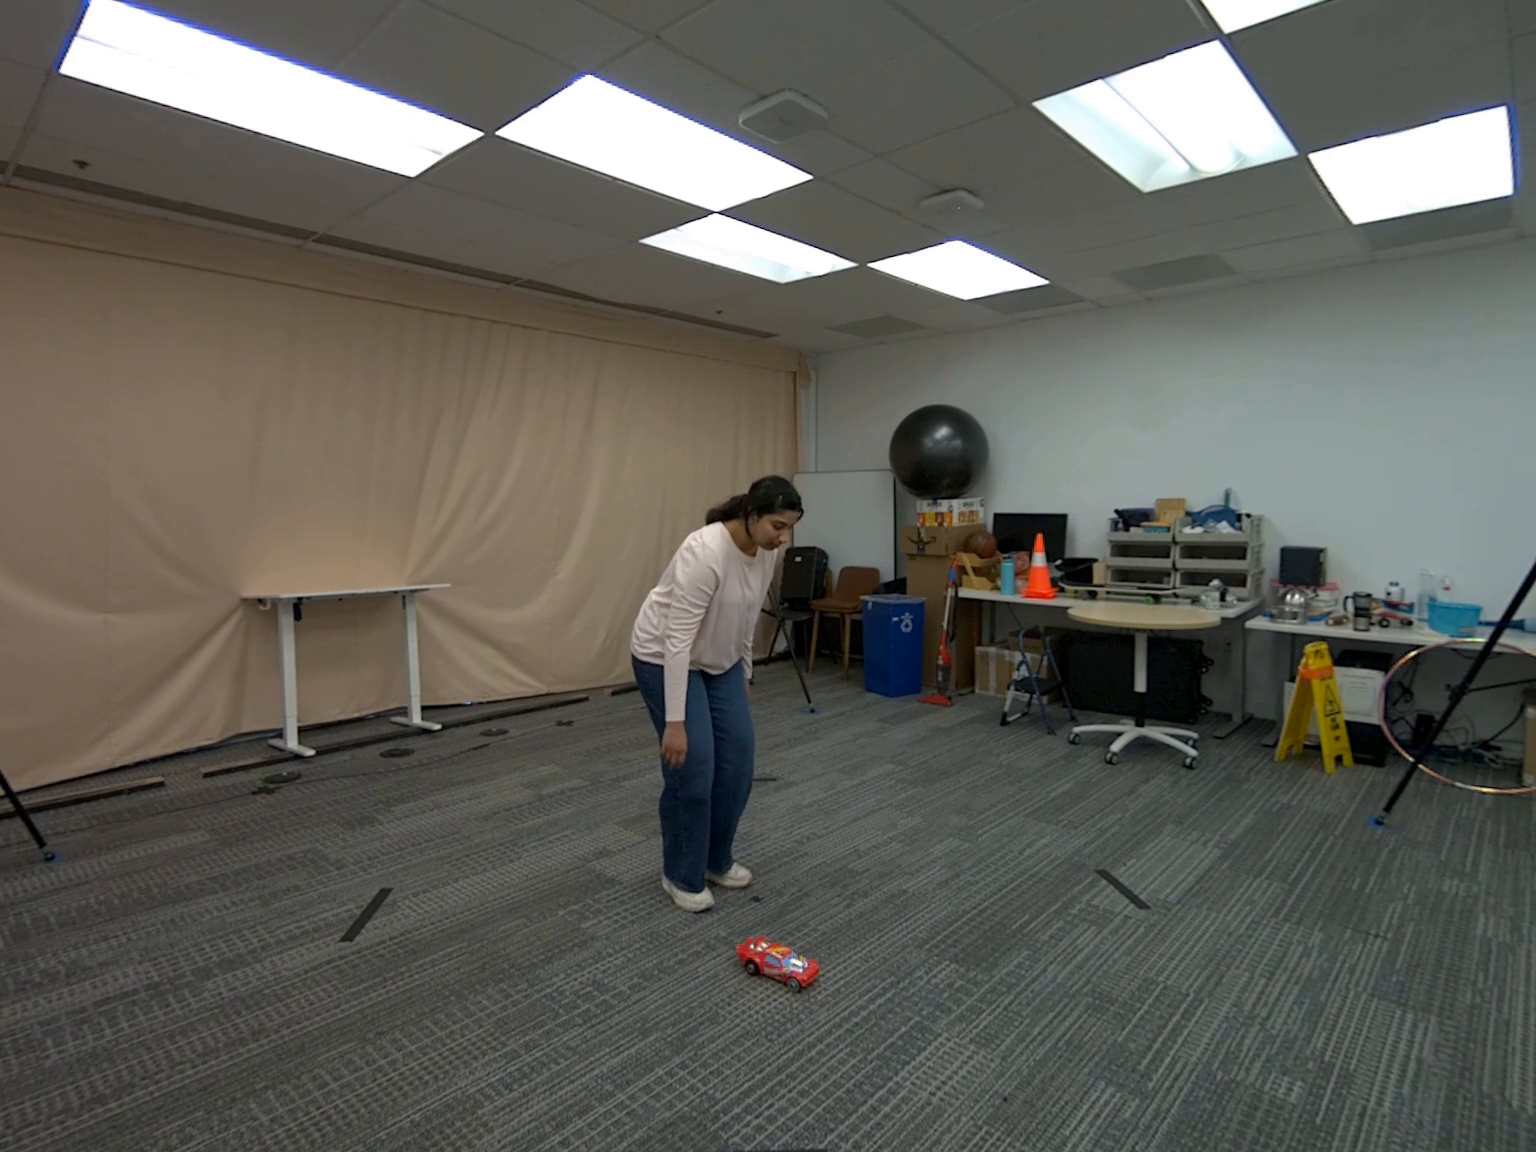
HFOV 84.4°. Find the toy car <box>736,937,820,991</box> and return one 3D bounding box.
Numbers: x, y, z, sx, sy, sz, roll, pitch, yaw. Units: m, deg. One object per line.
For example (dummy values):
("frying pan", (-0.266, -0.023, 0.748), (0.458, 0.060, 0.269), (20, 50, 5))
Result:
("toy car", (0.028, 1.153, 2.504), (0.263, 0.083, 0.126), (16, 12, 35))
